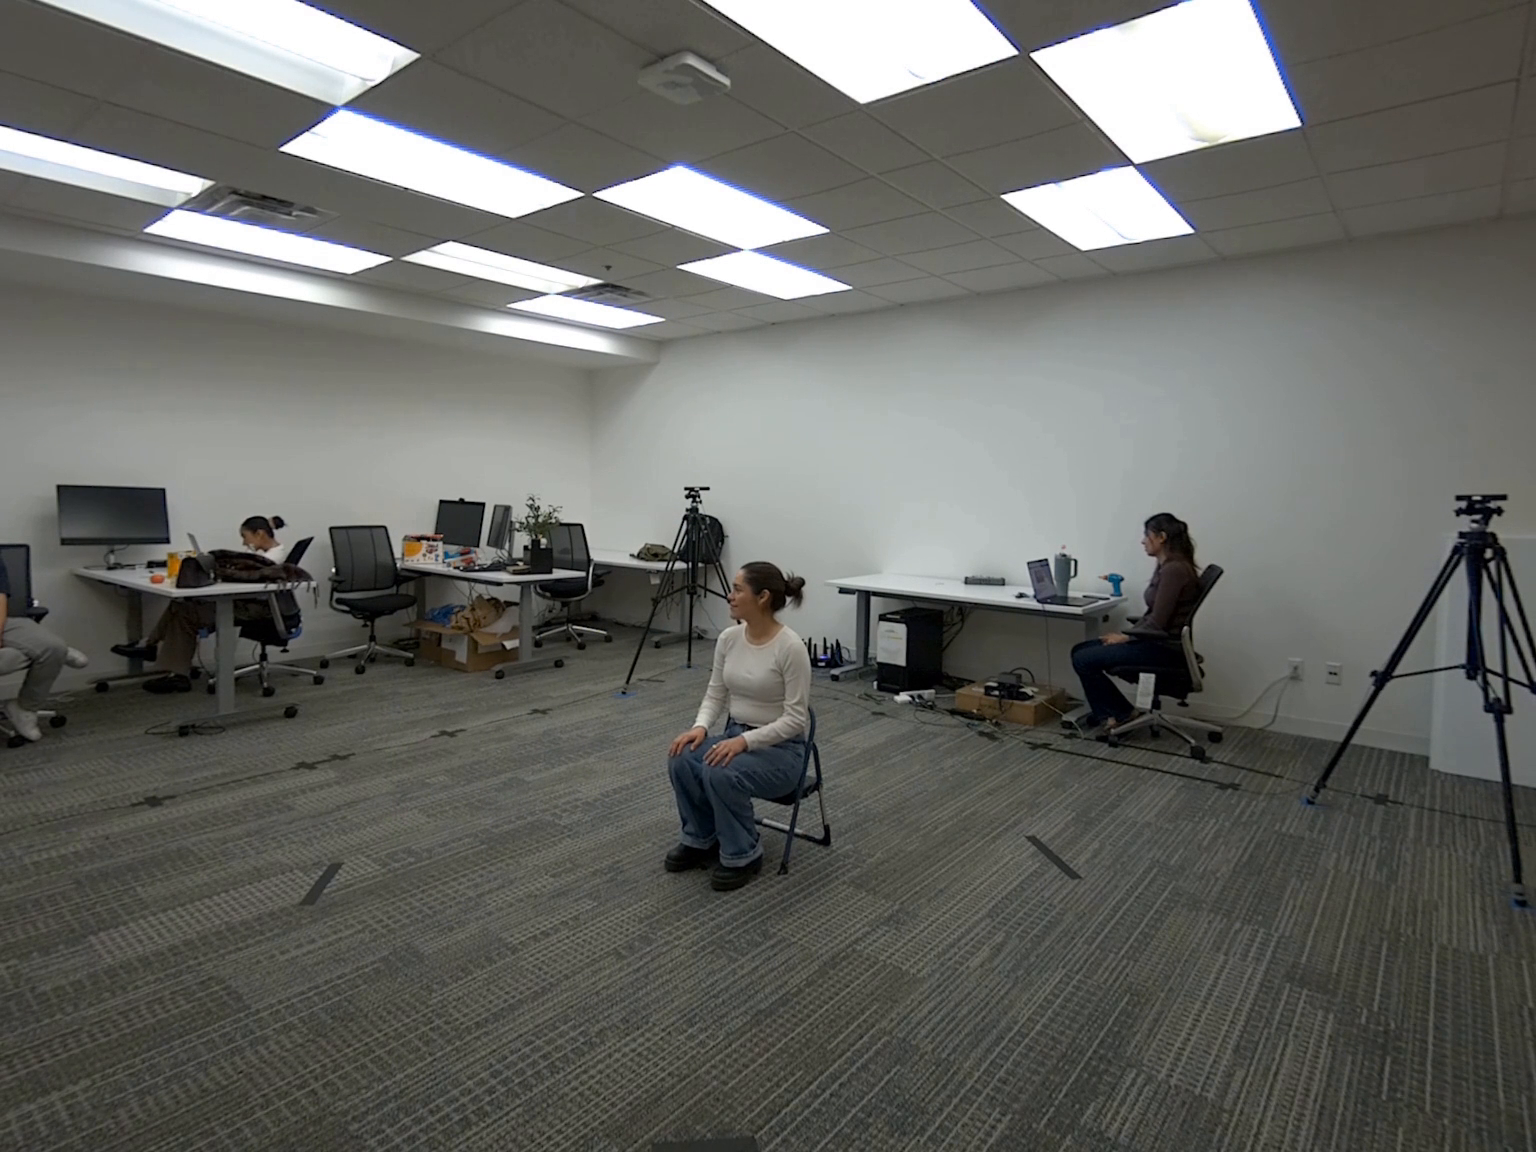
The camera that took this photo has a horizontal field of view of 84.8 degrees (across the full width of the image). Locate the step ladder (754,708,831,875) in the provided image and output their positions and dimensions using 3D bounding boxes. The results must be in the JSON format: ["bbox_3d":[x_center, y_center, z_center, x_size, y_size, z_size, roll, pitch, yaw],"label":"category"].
[{"bbox_3d":[-0.014,0.744,3.318,0.445,0.604,0.339,4,4,36],"label":"step ladder"}]
